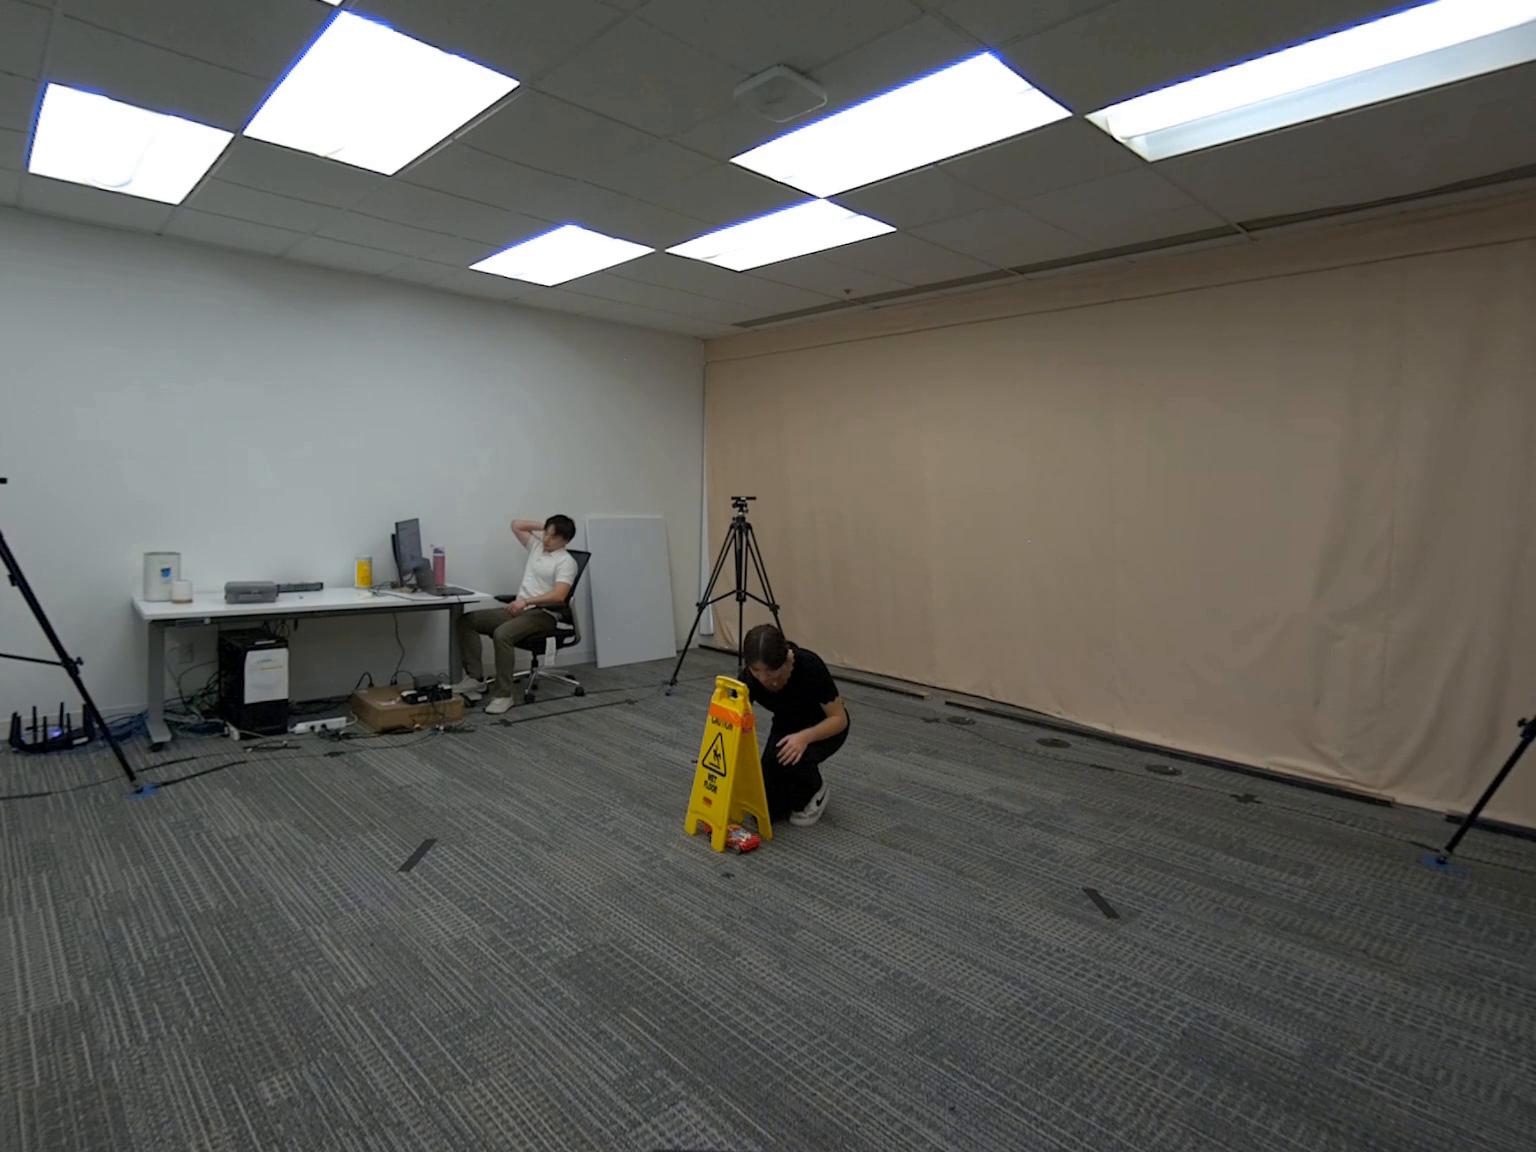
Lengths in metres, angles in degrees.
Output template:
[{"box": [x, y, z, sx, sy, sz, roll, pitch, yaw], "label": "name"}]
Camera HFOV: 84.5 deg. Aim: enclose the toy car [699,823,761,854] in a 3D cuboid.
[{"box": [-0.168, 1.047, 3.404, 0.127, 0.082, 0.262, -3, 17, -43], "label": "toy car"}]
